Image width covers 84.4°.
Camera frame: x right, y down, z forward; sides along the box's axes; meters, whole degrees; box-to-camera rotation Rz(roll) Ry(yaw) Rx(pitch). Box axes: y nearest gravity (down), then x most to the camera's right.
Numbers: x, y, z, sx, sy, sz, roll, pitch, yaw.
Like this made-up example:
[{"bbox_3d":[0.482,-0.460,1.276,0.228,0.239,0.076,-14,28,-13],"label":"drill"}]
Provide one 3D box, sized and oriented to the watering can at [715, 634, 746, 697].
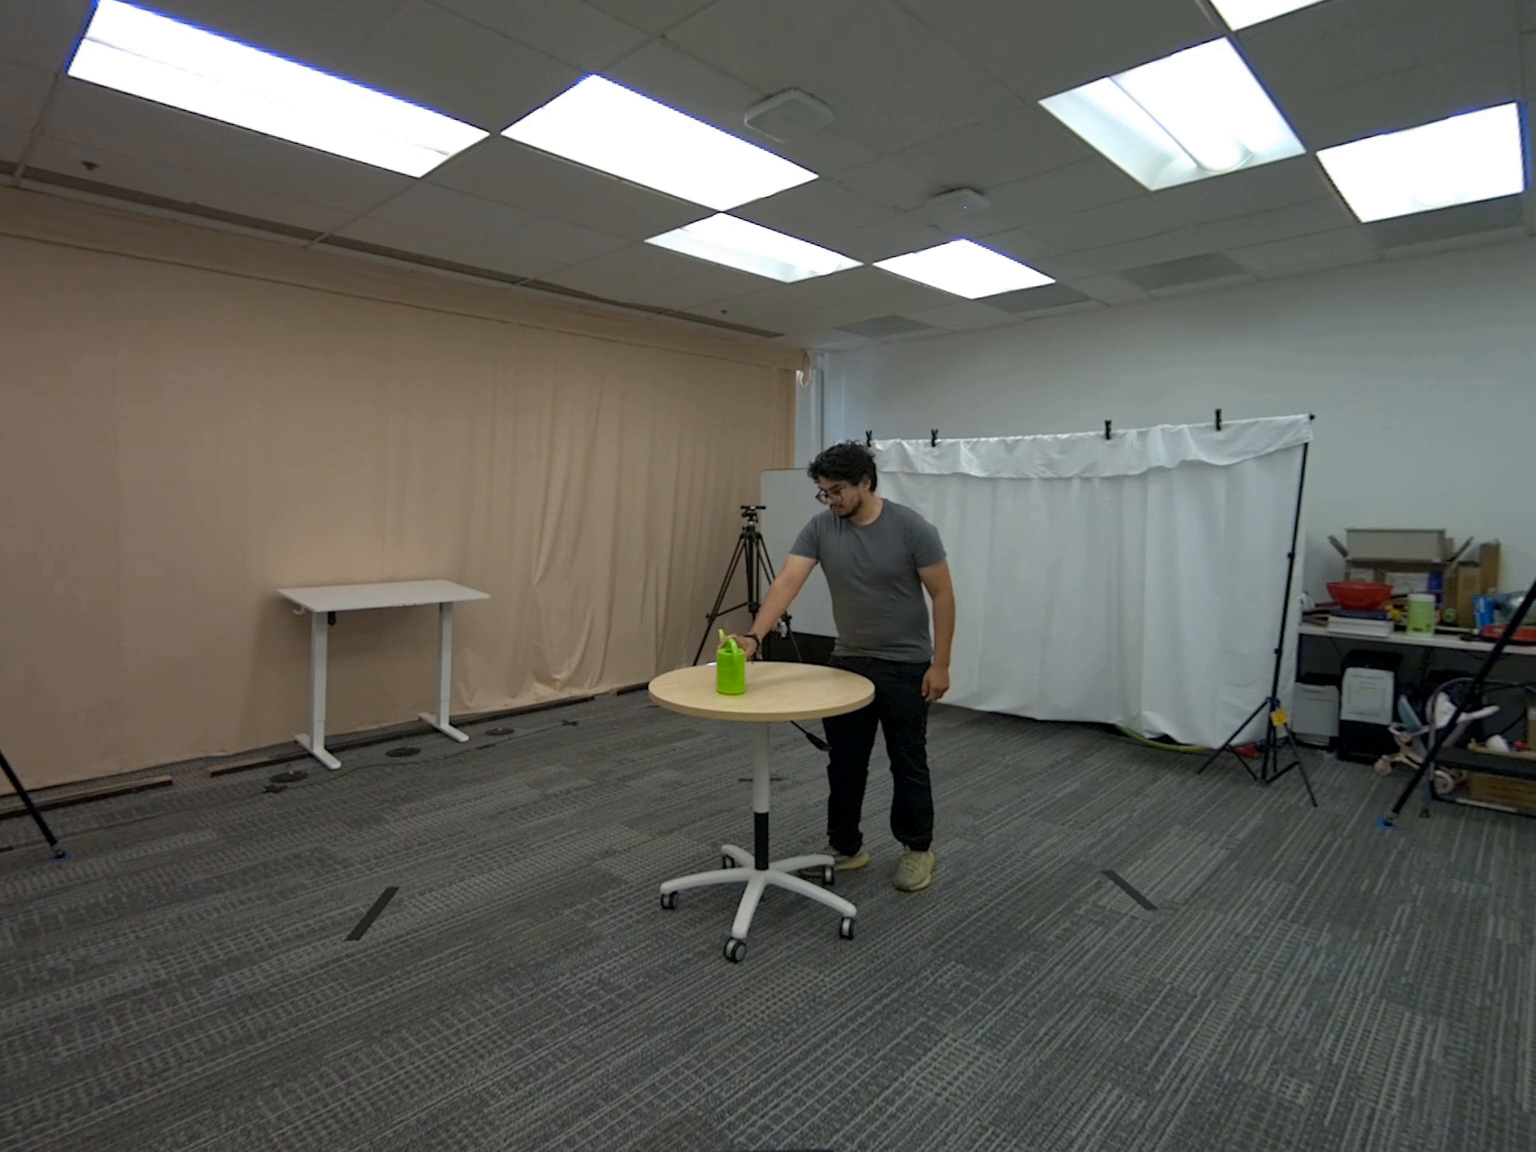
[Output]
[{"bbox_3d":[-0.122,0.292,2.807,0.098,0.176,0.280,0,8,-2],"label":"watering can"}]
